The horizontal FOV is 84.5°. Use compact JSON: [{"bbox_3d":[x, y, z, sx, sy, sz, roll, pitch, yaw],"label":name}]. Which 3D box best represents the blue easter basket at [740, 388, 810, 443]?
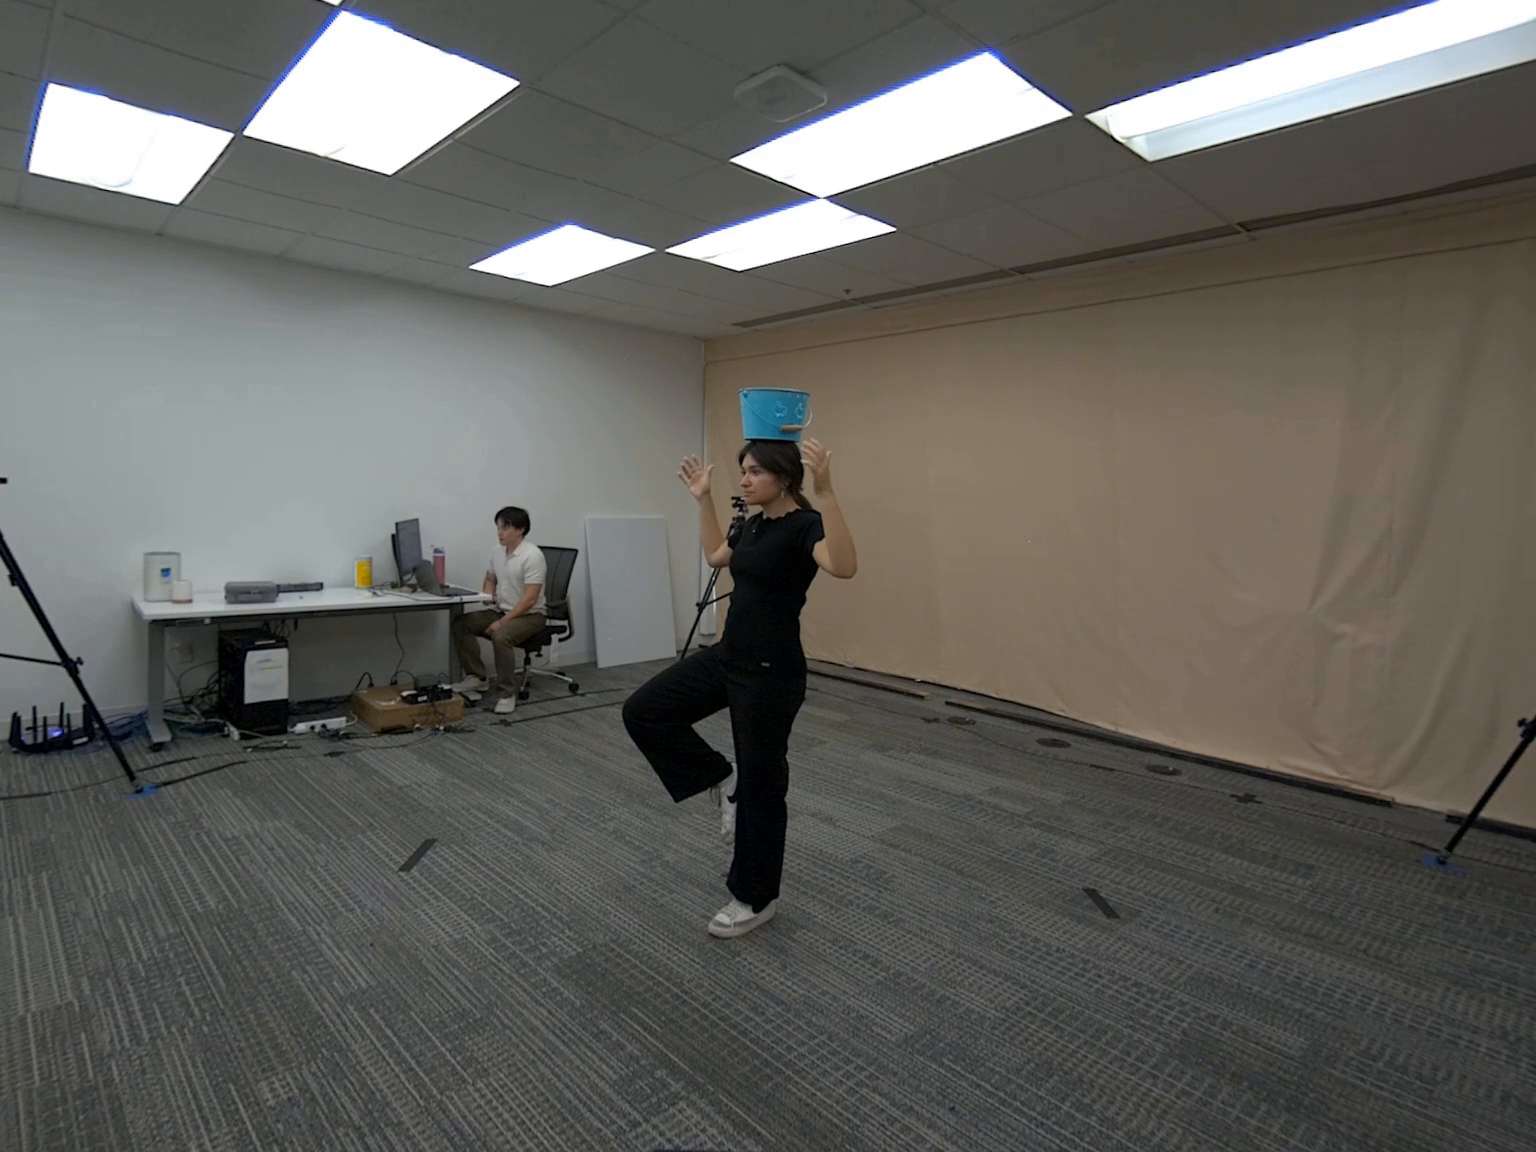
[{"bbox_3d":[0.016,-0.508,2.674,0.243,0.155,0.245,3,6,-2],"label":"blue easter basket"}]
